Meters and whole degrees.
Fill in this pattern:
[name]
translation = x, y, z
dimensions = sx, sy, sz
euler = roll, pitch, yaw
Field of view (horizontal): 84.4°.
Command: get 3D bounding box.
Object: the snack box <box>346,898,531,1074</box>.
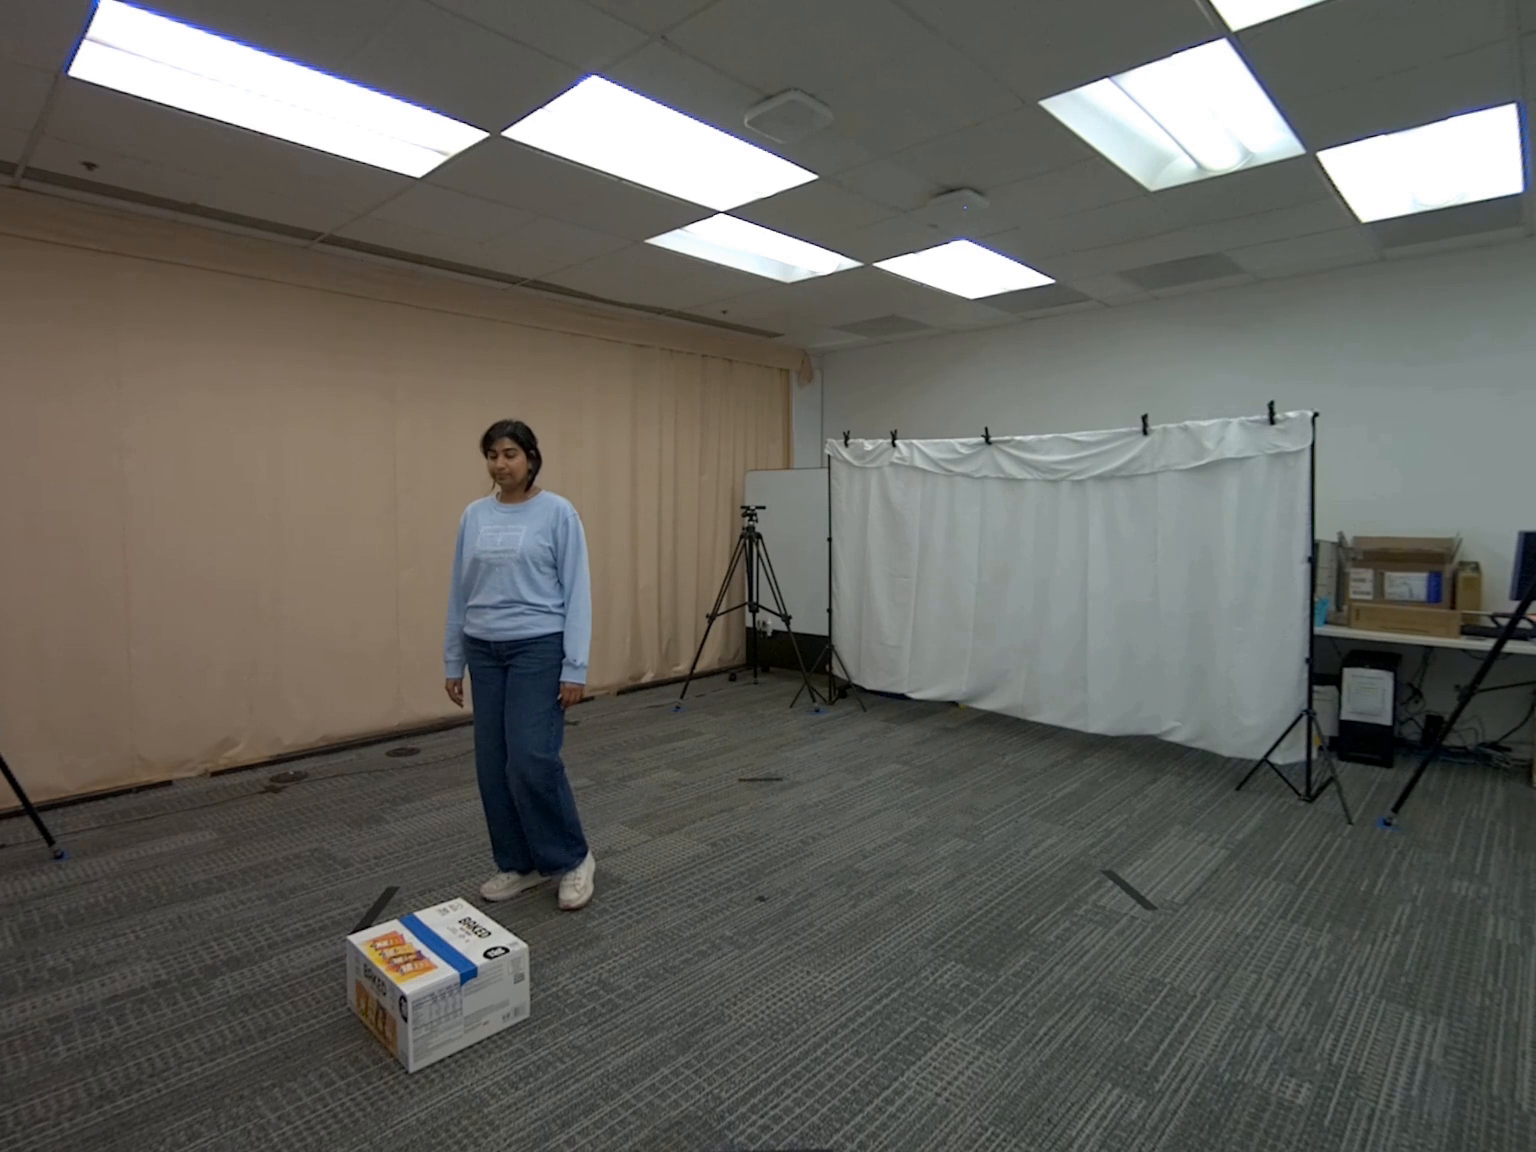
[snack box]
translation = -0.909, 1.103, 2.313
dimensions = 0.418, 0.205, 0.330
euler = 3, 6, 45
